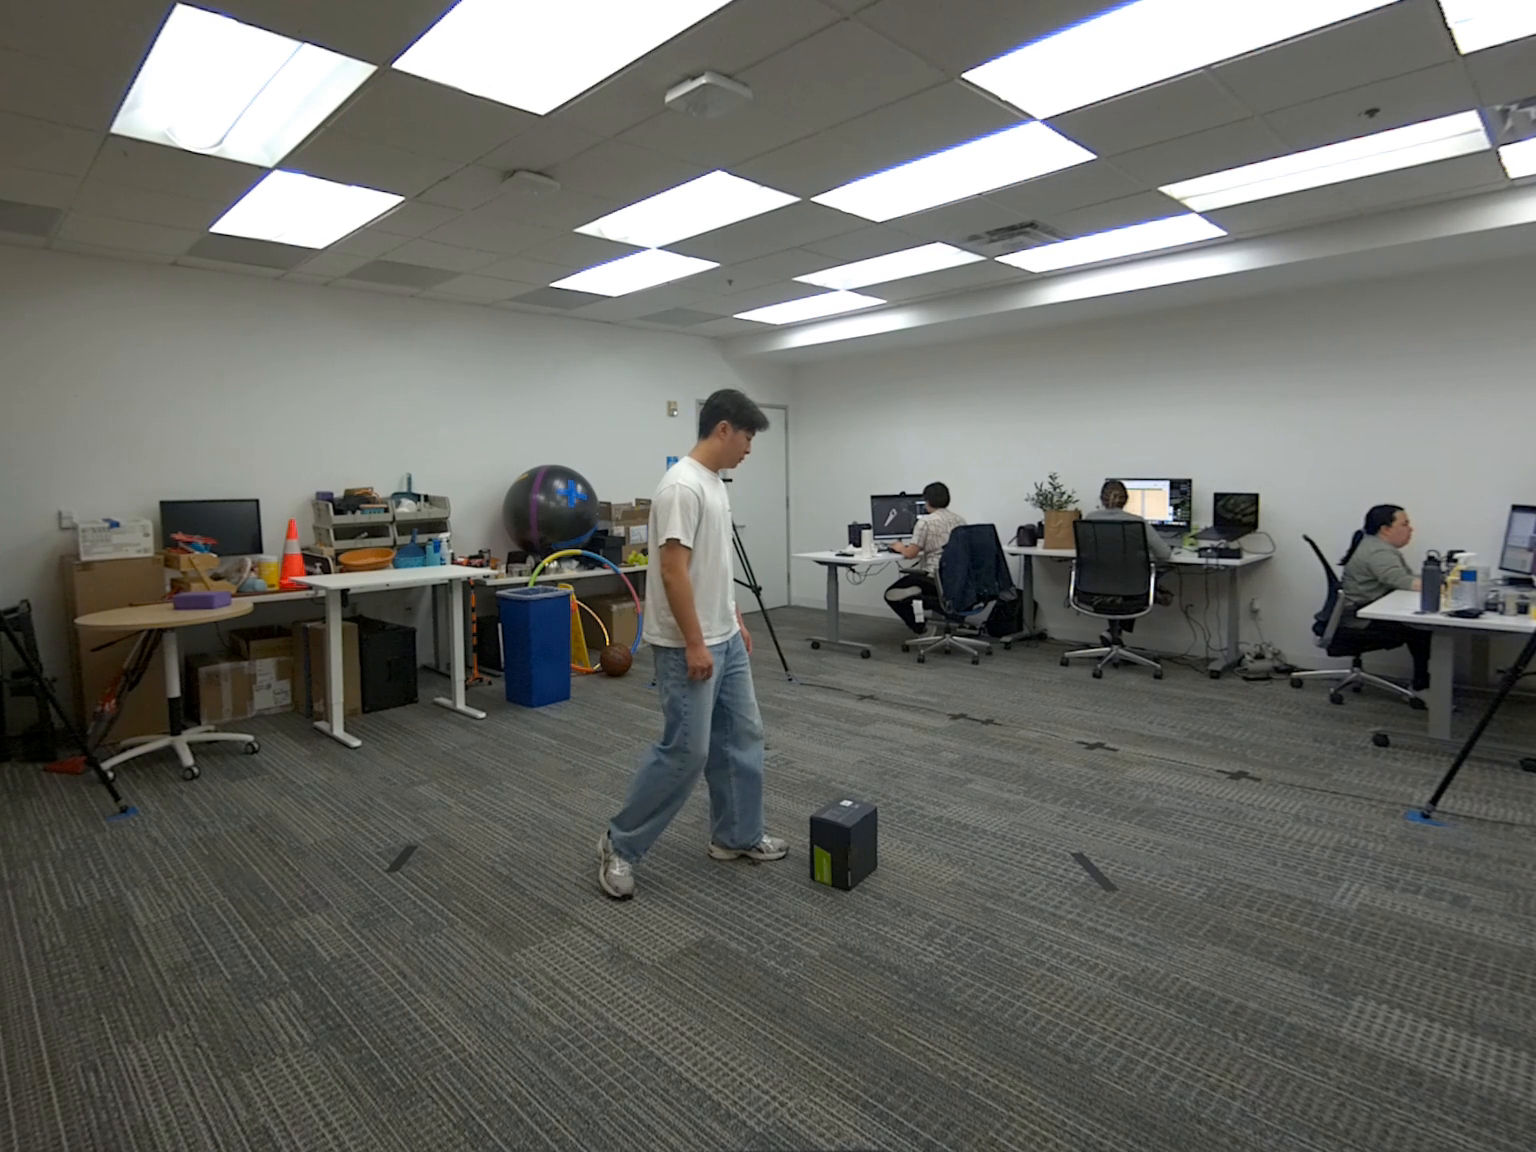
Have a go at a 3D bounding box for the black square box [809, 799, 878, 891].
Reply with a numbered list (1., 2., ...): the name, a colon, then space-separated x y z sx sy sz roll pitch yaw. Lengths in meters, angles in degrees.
1. black square box: 0.265 0.927 2.994 0.160 0.227 0.212 3 6 33
